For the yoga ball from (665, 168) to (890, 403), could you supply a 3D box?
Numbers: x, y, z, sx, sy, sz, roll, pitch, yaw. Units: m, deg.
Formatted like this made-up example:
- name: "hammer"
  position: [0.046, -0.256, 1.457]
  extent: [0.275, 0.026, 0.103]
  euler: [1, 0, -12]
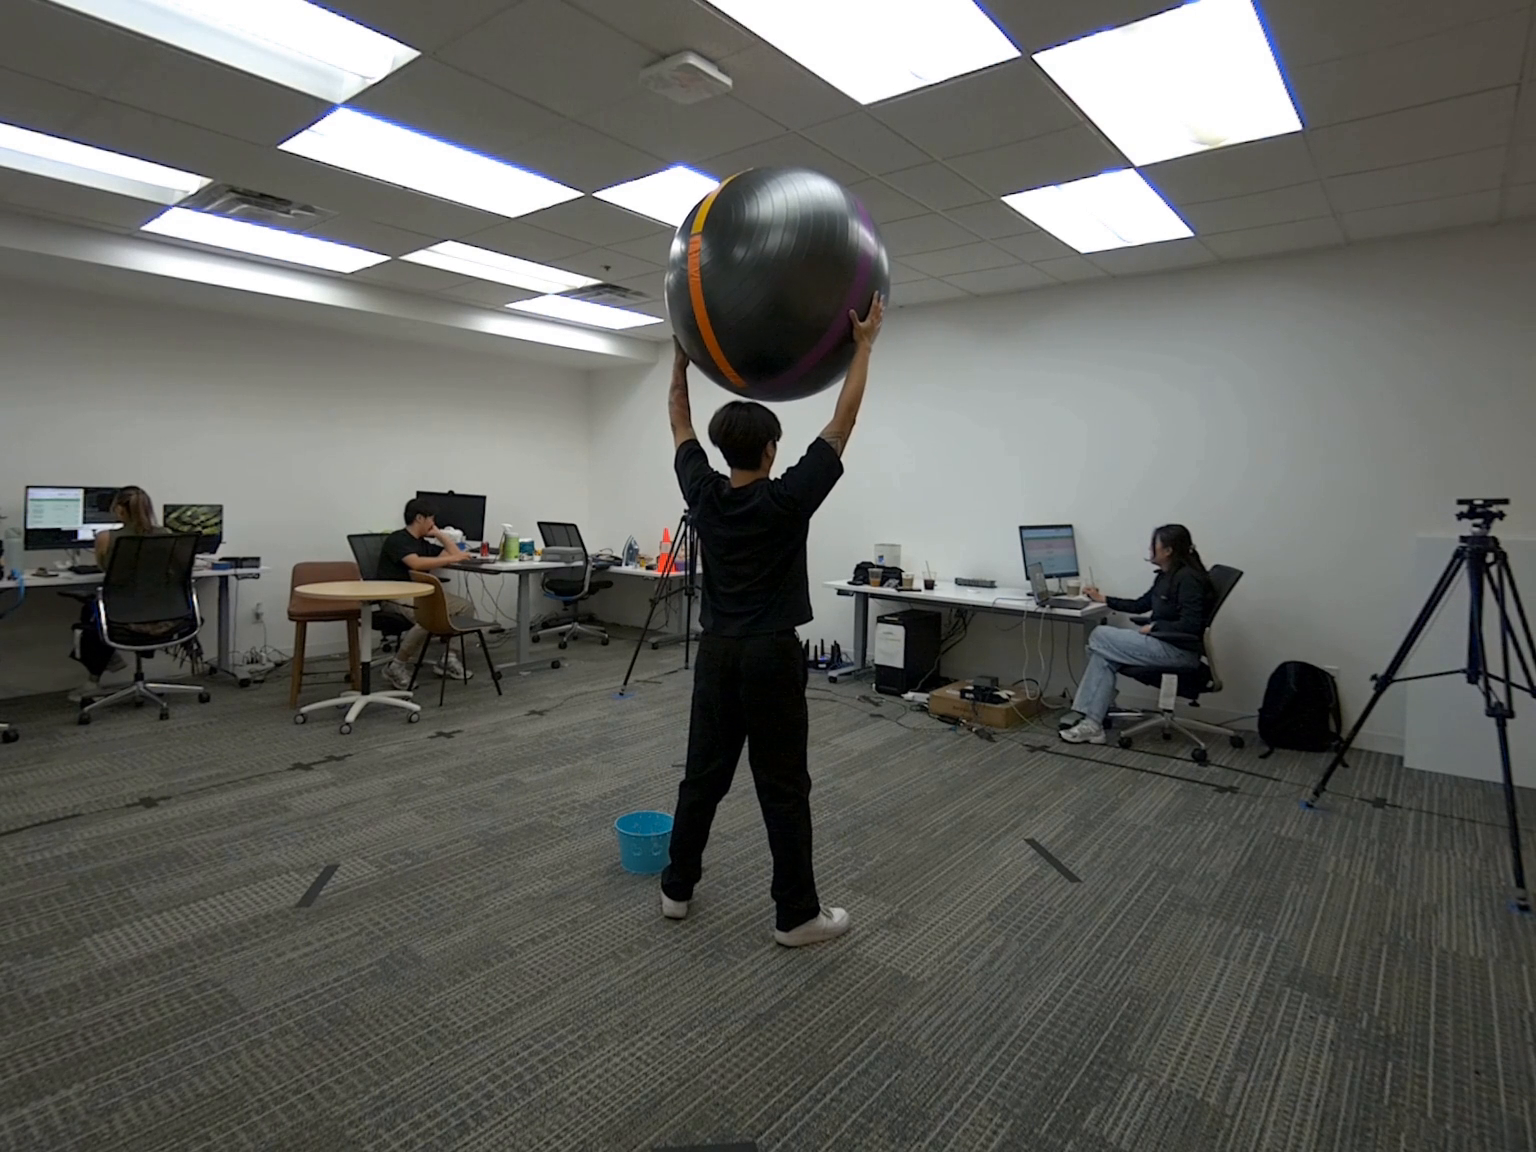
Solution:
- name: "yoga ball"
  position: [0.020, -0.970, 2.873]
  extent: [0.757, 0.755, 0.762]
  euler: [1, 4, -2]
